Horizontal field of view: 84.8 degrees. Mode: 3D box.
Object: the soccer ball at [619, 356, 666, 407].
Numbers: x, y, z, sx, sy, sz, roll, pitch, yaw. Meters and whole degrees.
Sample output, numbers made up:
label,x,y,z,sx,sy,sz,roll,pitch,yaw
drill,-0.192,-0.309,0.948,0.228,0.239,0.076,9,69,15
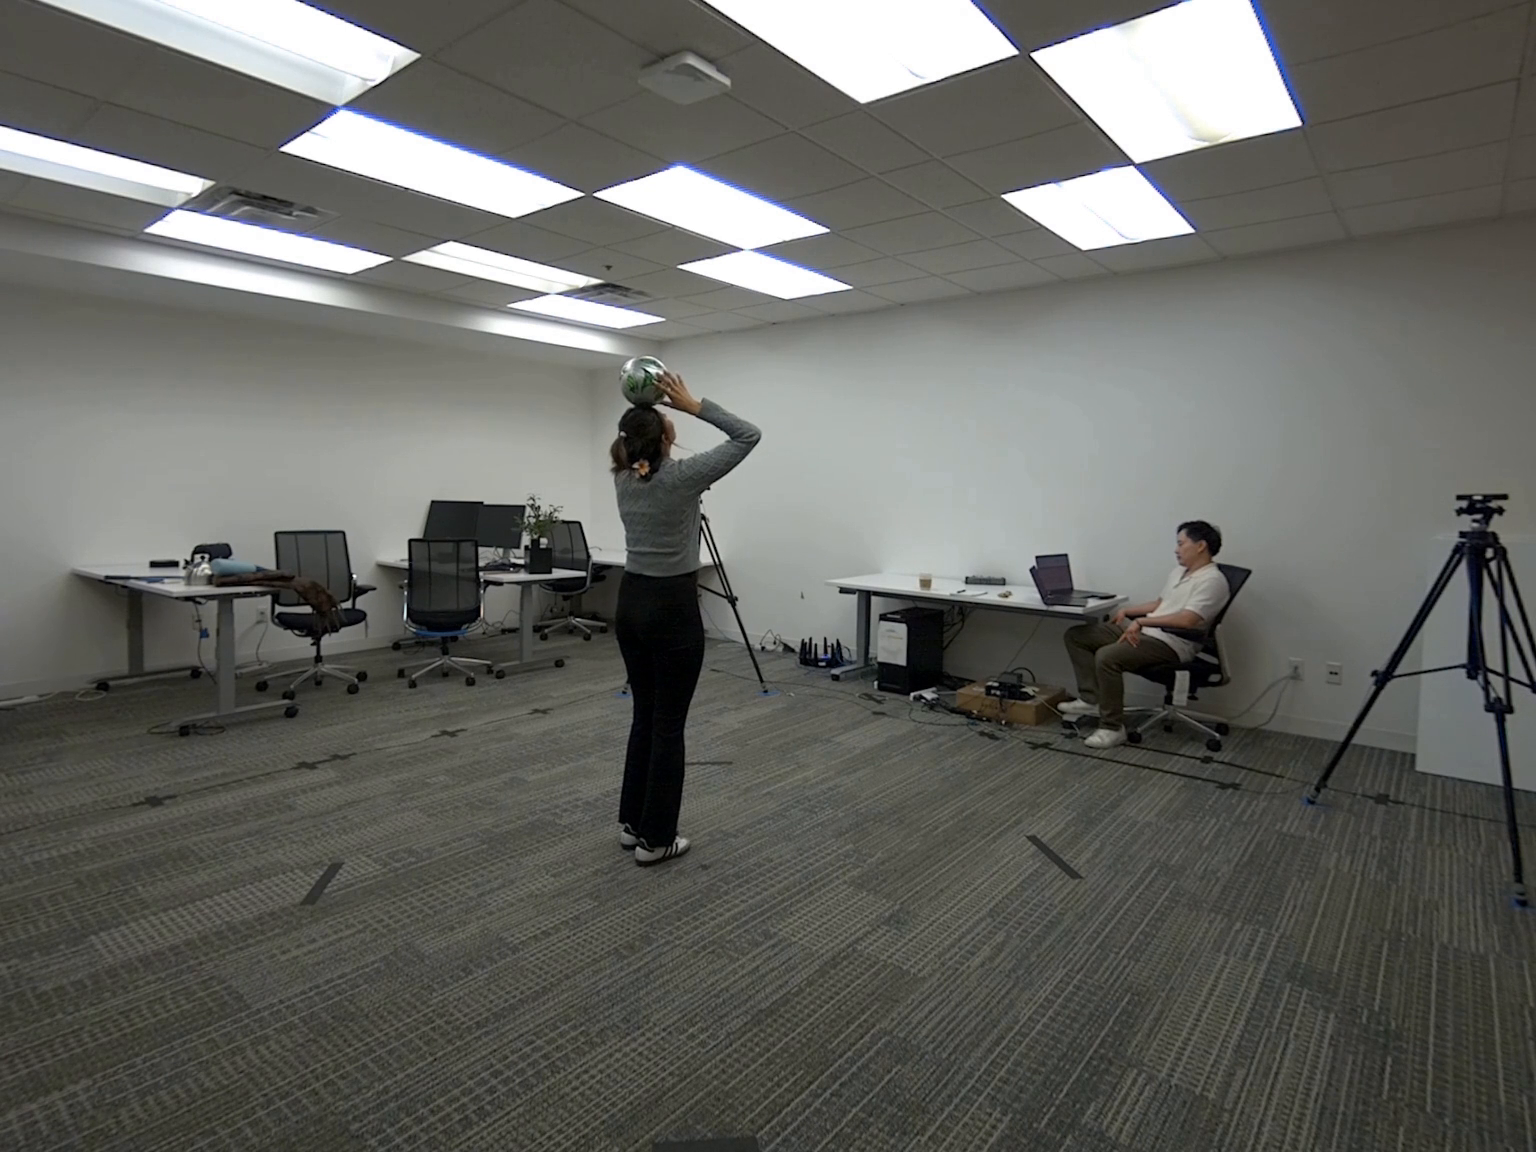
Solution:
label,x,y,z,sx,sy,sz,roll,pitch,yaw
soccer ball,-0.464,-0.713,3.123,0.187,0.187,0.188,1,4,-2
